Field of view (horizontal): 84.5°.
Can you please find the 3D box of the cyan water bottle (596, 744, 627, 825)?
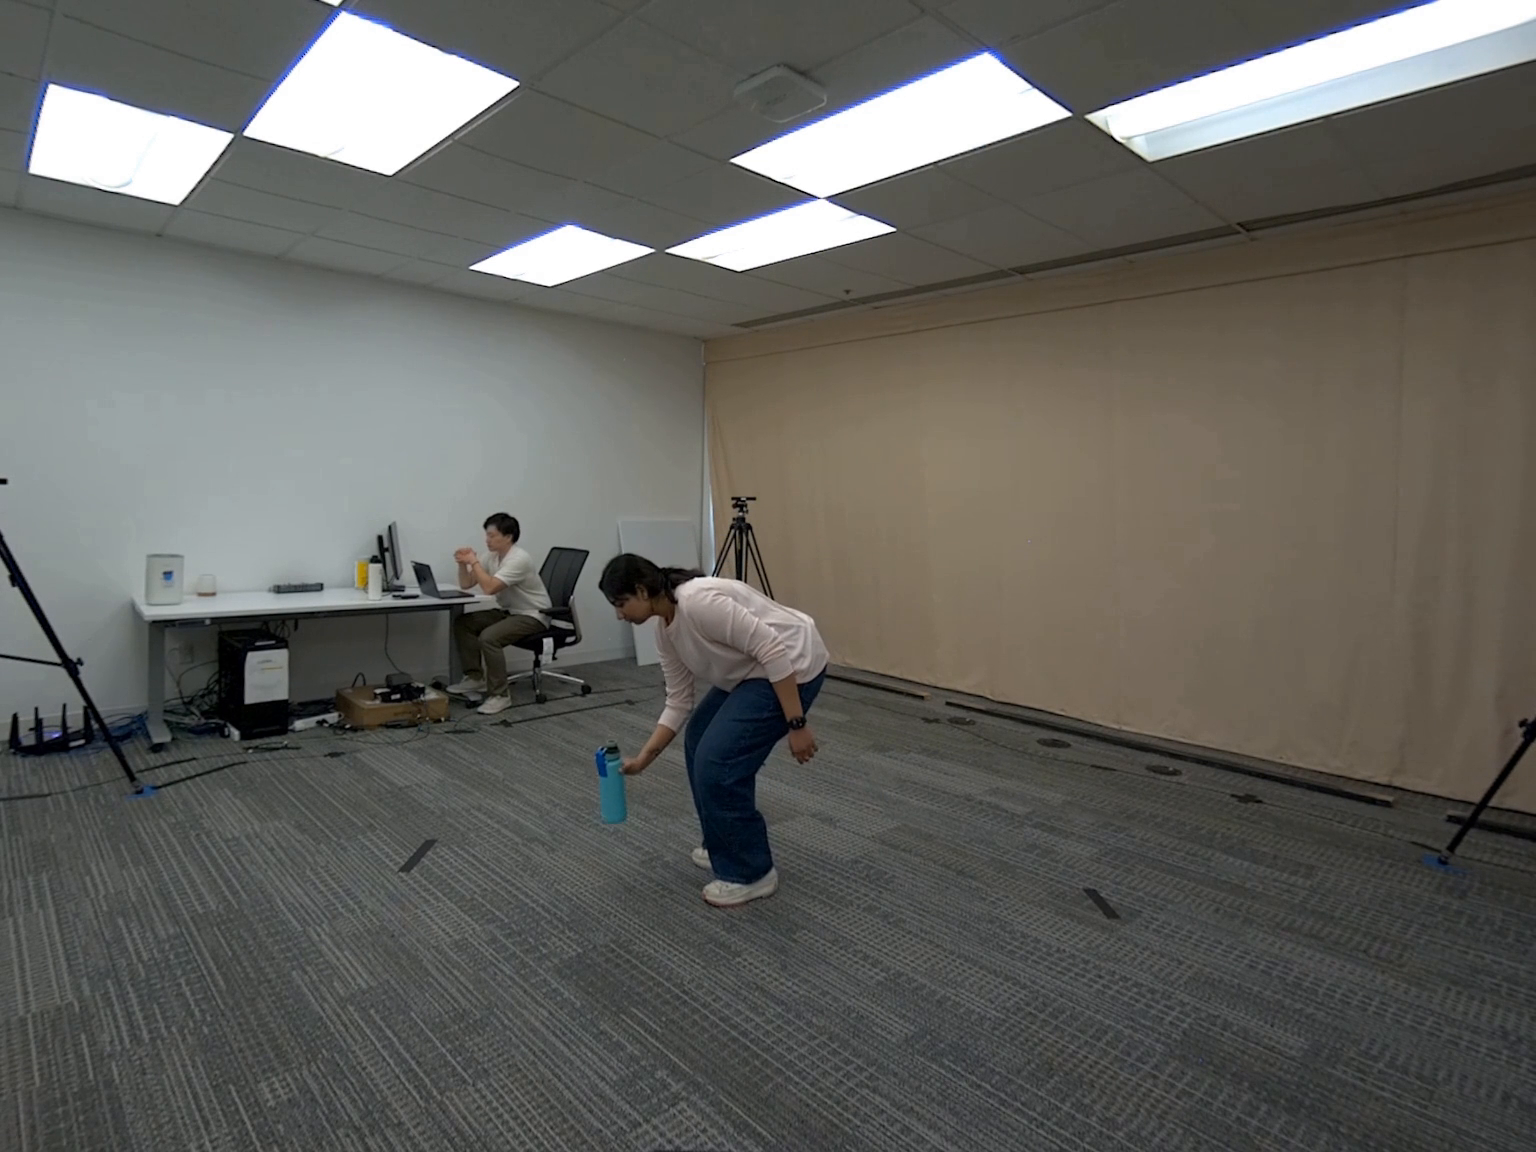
[{"bbox_3d":[-0.554,0.719,2.965,0.092,0.281,0.093,-5,8,-1],"label":"cyan water bottle"}]
